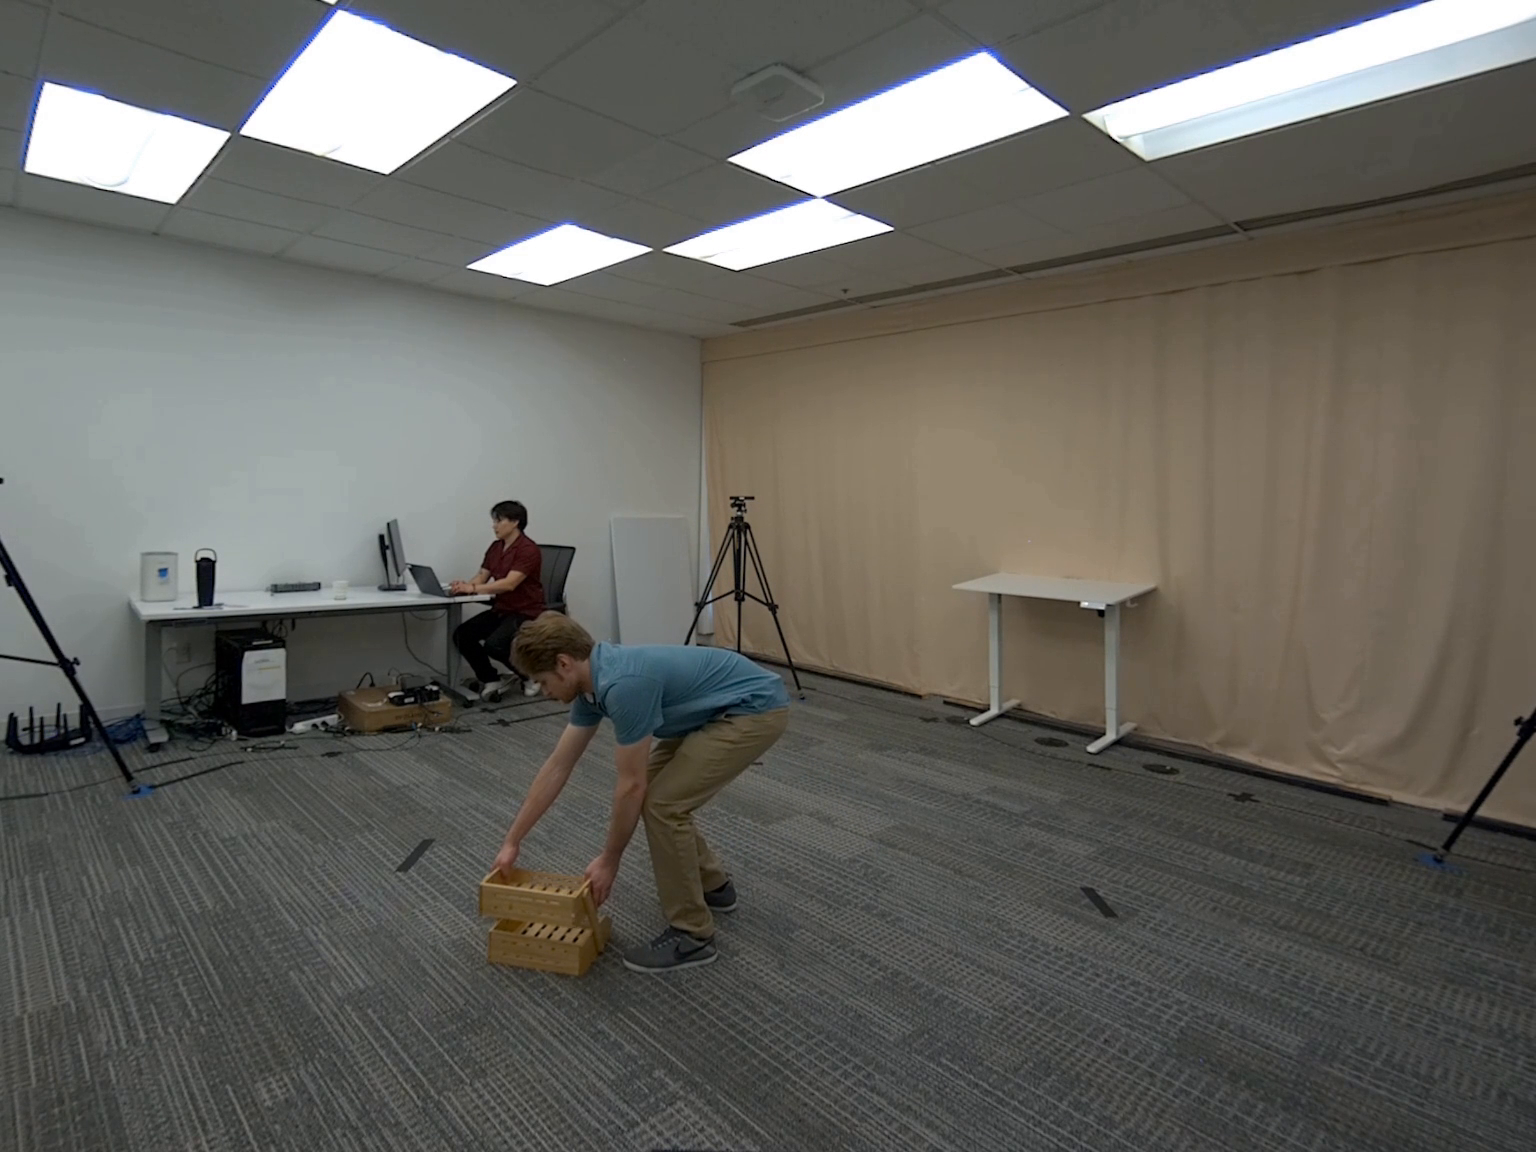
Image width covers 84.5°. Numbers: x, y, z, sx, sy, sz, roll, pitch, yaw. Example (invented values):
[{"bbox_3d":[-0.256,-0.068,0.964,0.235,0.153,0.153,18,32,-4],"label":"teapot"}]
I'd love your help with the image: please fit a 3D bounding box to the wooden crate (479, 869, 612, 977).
[{"bbox_3d":[-0.669,1.011,2.552,0.328,0.272,0.300,2,6,11],"label":"wooden crate"}]
